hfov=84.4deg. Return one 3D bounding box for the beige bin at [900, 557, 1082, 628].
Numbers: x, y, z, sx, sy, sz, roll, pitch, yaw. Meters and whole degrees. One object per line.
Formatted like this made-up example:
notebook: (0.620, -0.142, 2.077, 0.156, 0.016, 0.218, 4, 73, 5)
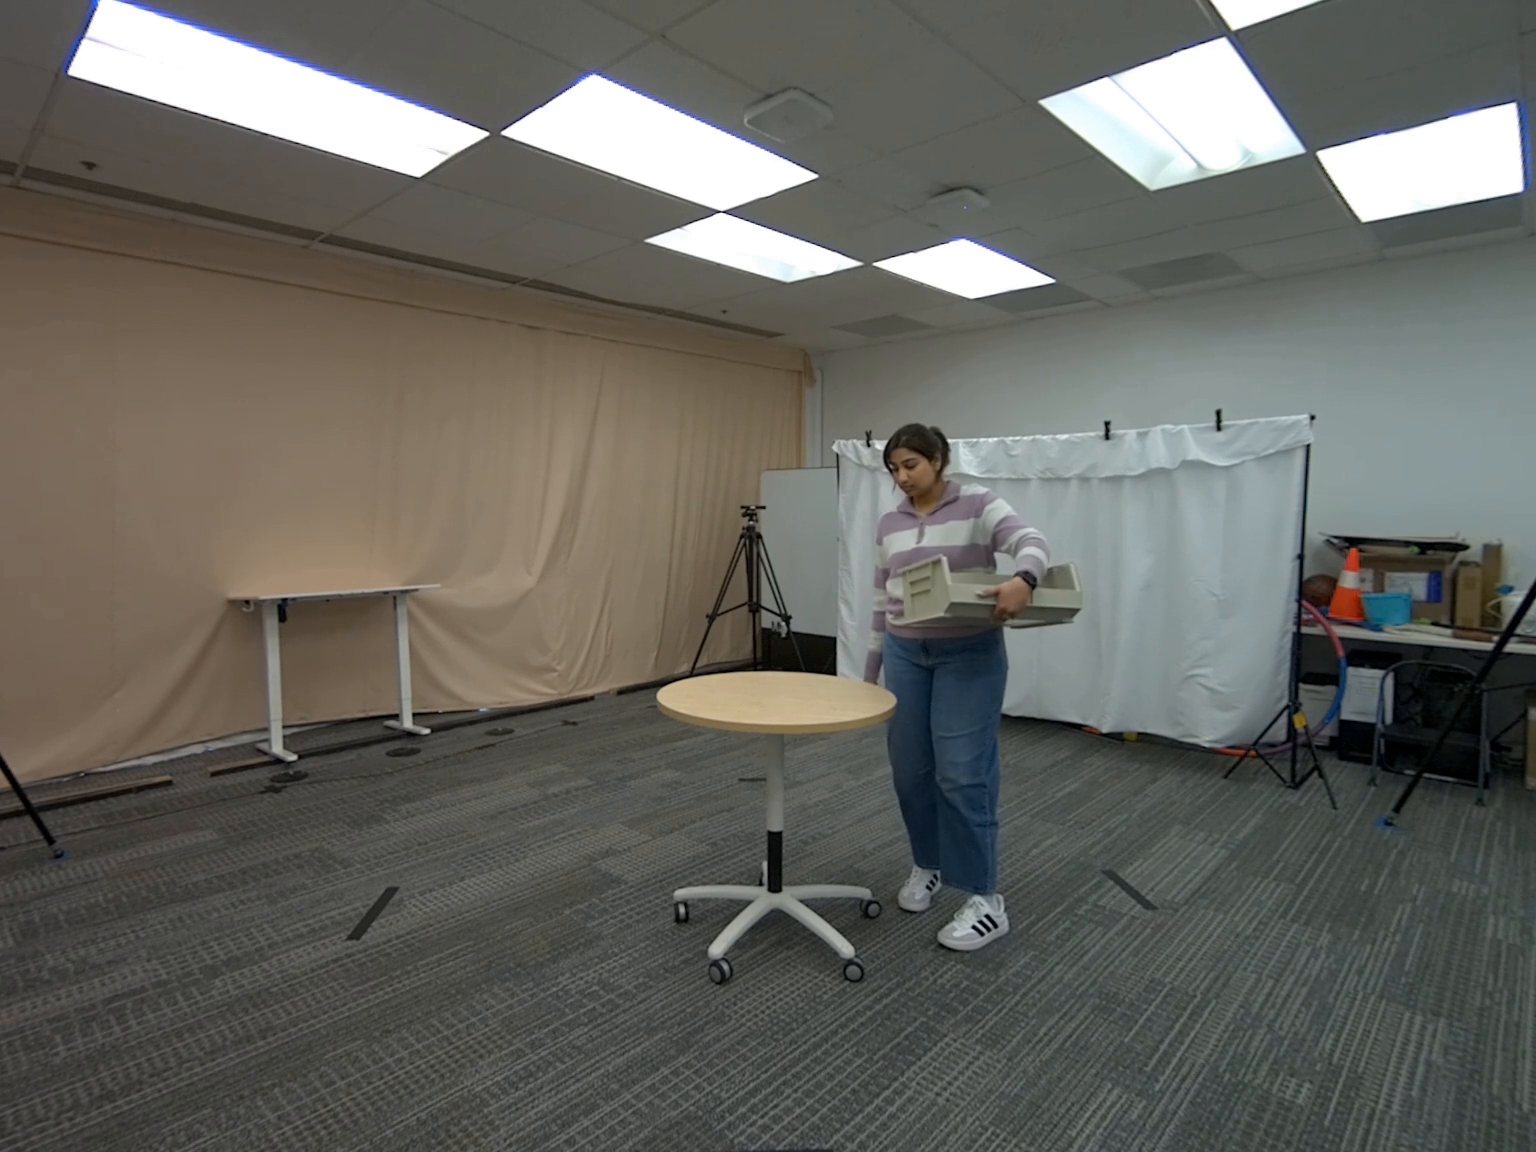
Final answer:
beige bin: (0.668, 0.063, 2.579, 0.417, 0.190, 0.380, 3, -9, -12)
